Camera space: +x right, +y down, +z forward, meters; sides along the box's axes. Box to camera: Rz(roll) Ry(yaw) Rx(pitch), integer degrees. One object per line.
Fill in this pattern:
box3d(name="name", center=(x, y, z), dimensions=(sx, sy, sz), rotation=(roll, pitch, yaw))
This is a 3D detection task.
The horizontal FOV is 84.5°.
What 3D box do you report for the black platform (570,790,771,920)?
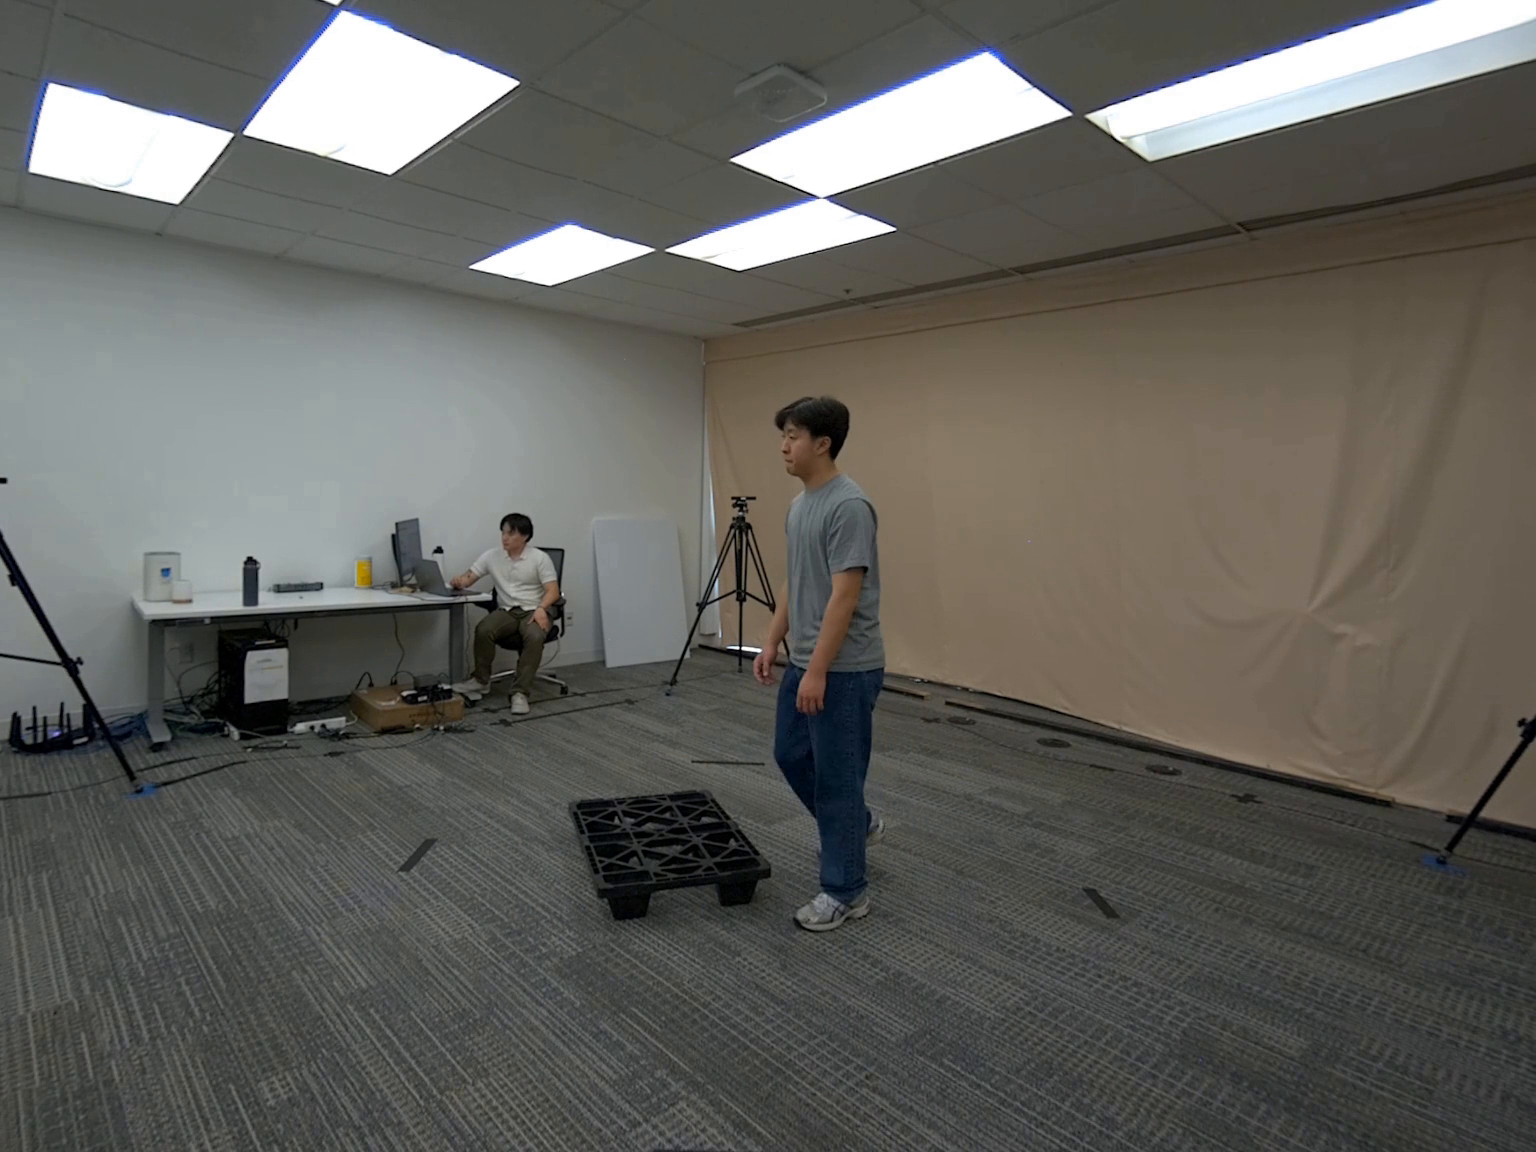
box3d(name="black platform", center=(-0.408, 1.027, 3.171), dimensions=(0.596, 0.143, 0.819), rotation=(0, 6, -19))
